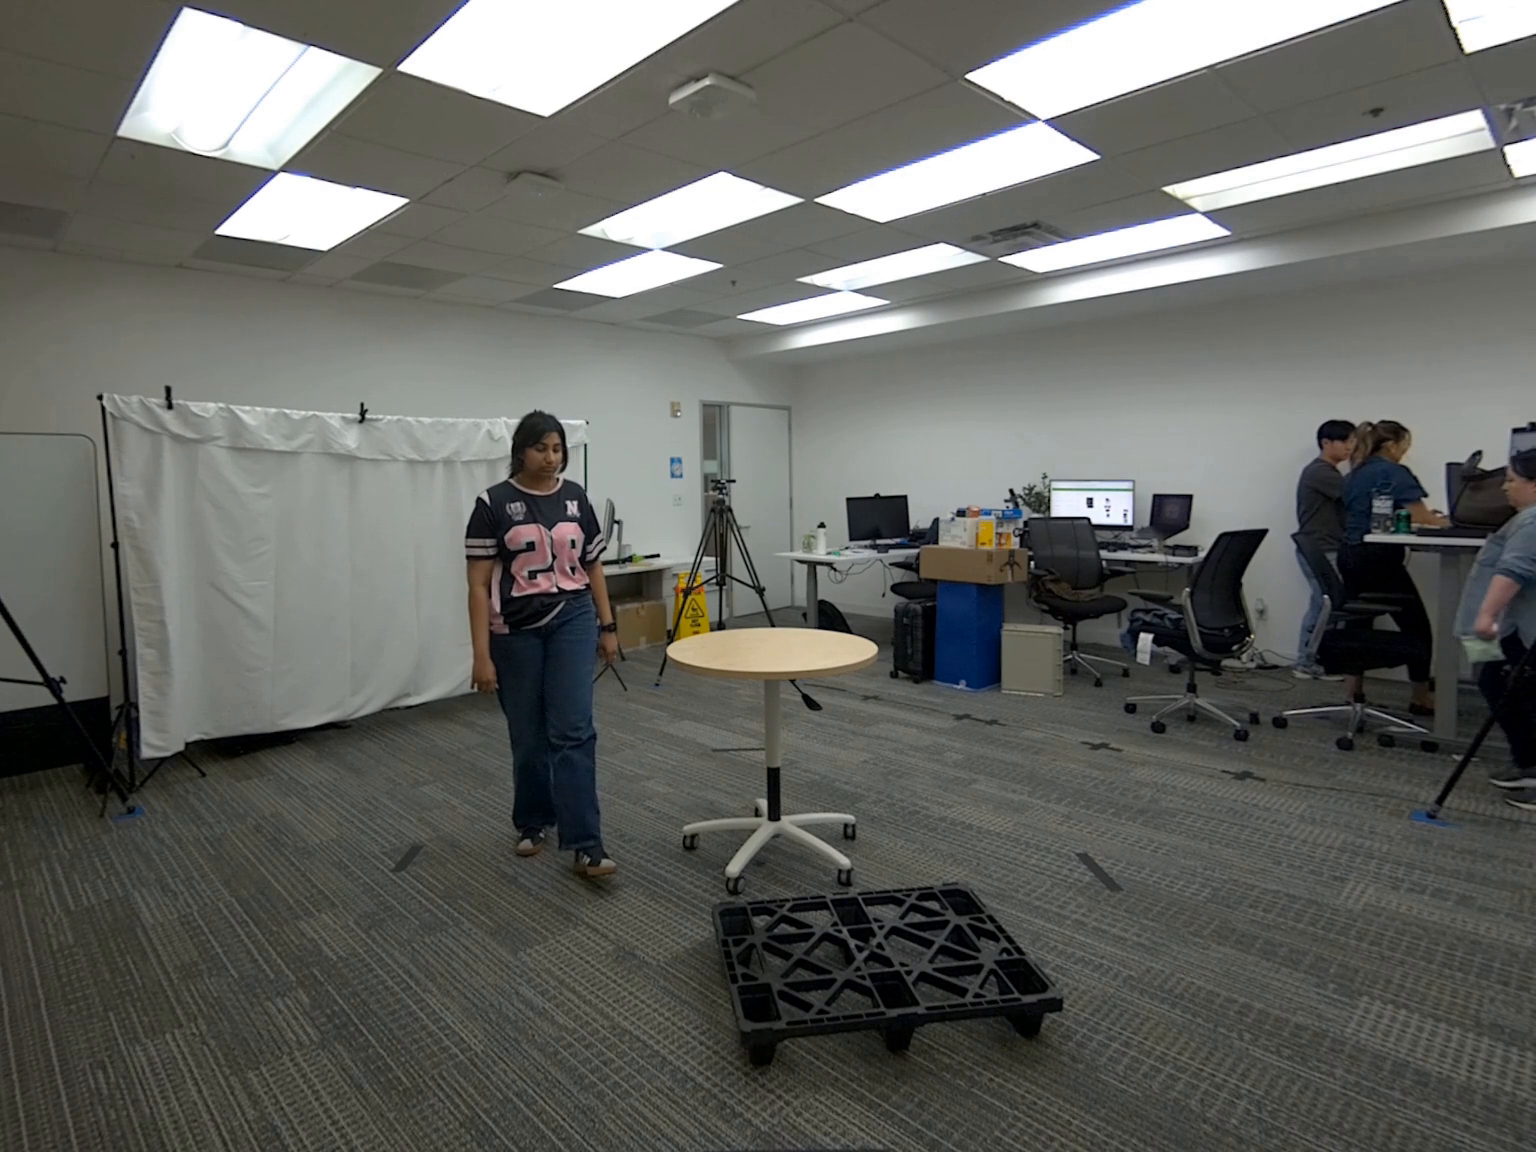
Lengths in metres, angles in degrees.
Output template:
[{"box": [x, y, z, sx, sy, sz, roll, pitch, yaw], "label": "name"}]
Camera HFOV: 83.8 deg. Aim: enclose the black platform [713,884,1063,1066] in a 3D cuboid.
[{"box": [0.278, 1.066, 2.314, 0.800, 0.143, 0.612, -2, 6, -8], "label": "black platform"}]
